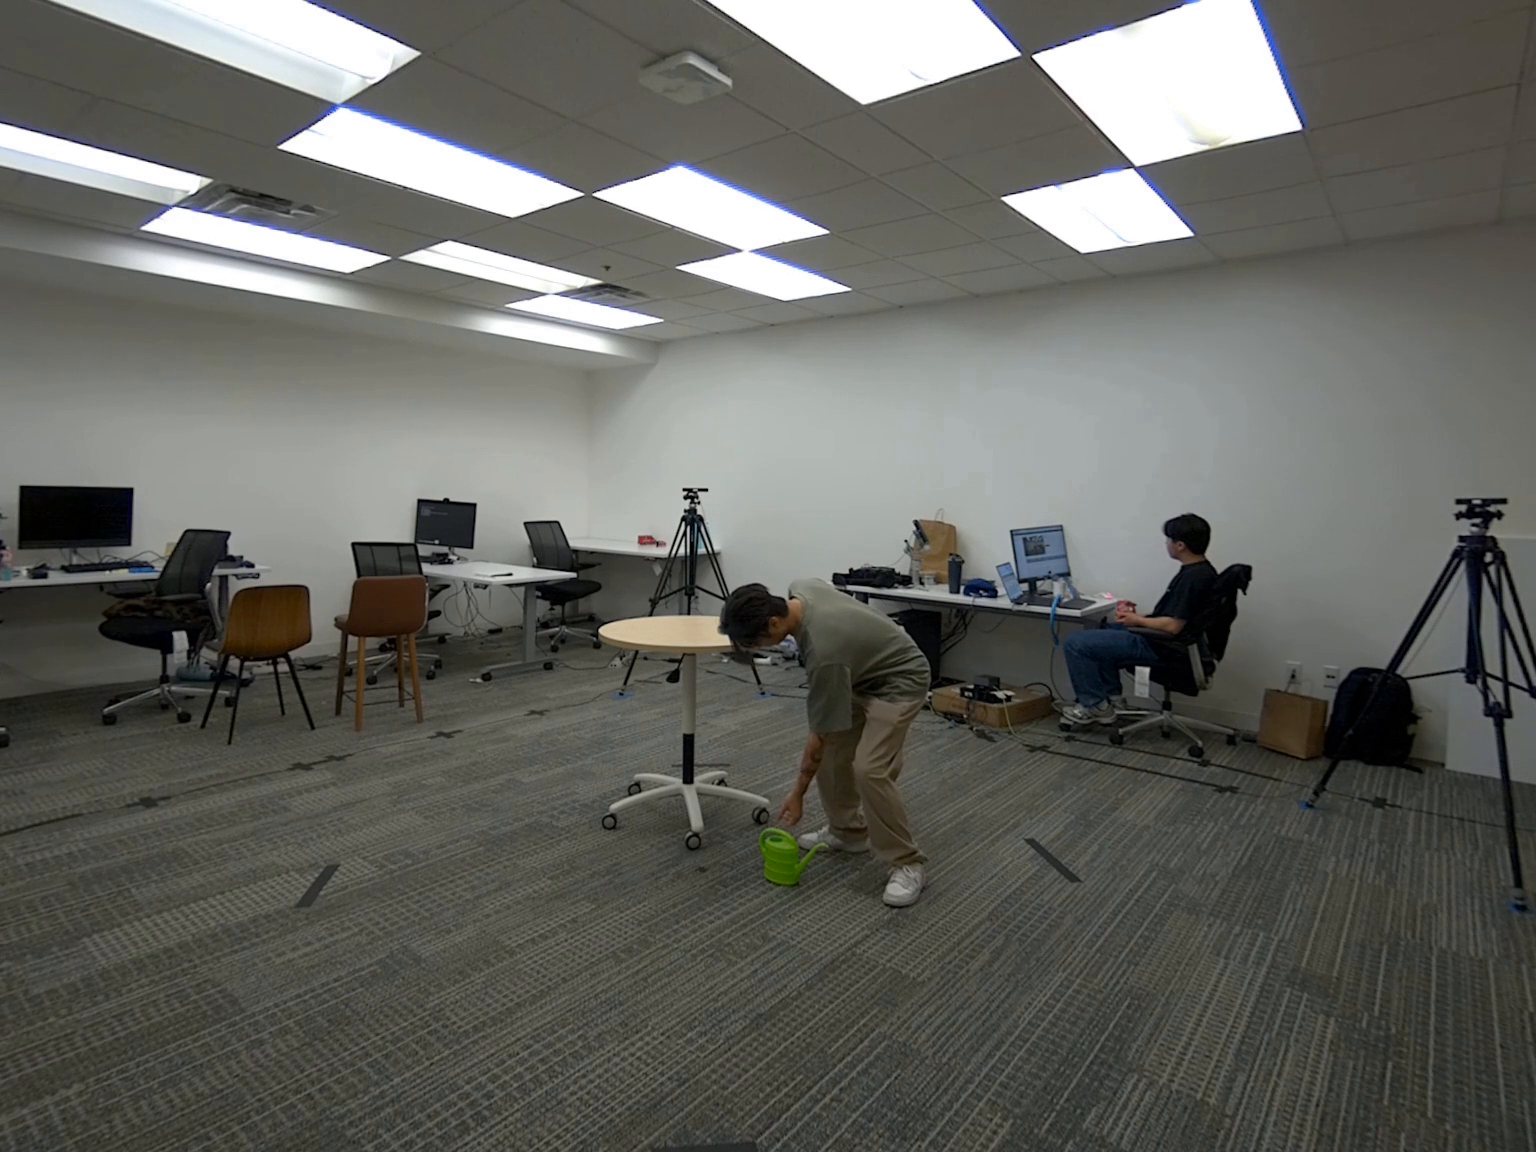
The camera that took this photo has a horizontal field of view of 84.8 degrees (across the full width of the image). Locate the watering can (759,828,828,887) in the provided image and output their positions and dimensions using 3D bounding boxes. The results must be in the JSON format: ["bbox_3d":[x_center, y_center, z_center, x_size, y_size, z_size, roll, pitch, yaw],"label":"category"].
[{"bbox_3d":[0.066,0.991,3.008,0.095,0.176,0.287,-2,4,-39],"label":"watering can"}]
